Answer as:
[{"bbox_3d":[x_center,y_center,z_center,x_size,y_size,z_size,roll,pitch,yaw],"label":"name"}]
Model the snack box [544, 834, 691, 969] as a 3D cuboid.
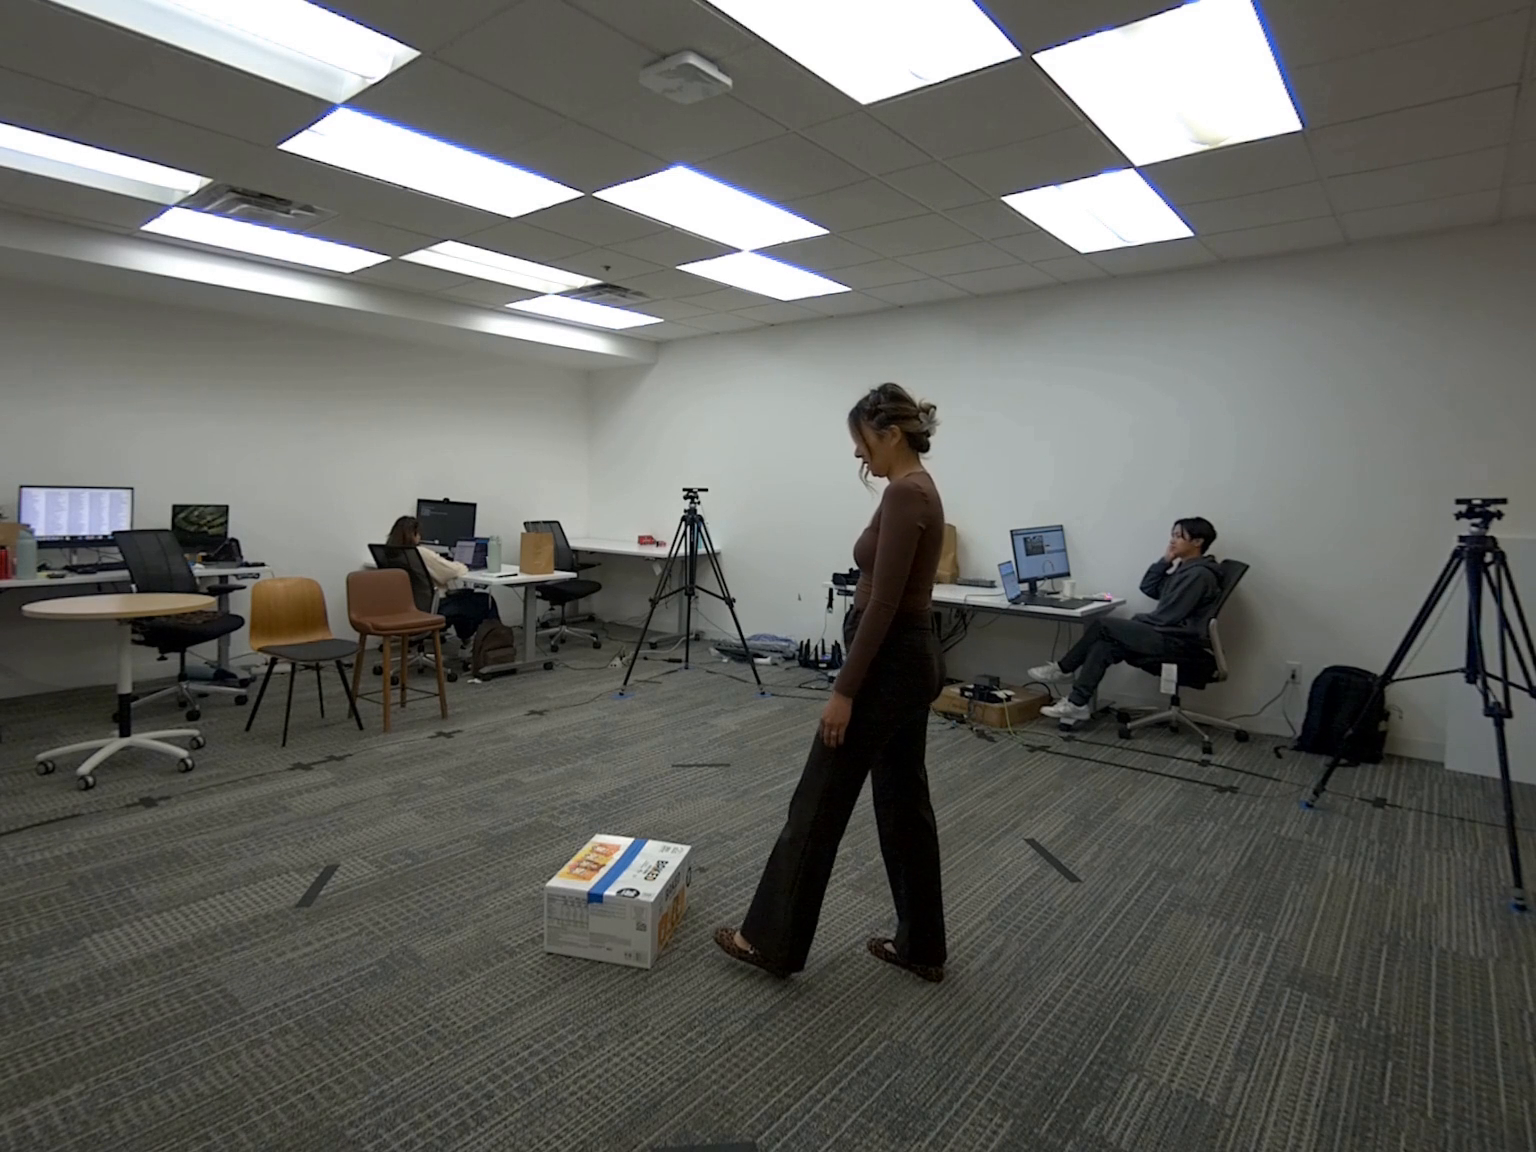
[{"bbox_3d":[-0.469,1.005,2.671,0.345,0.205,0.401,2,5,13],"label":"snack box"}]
